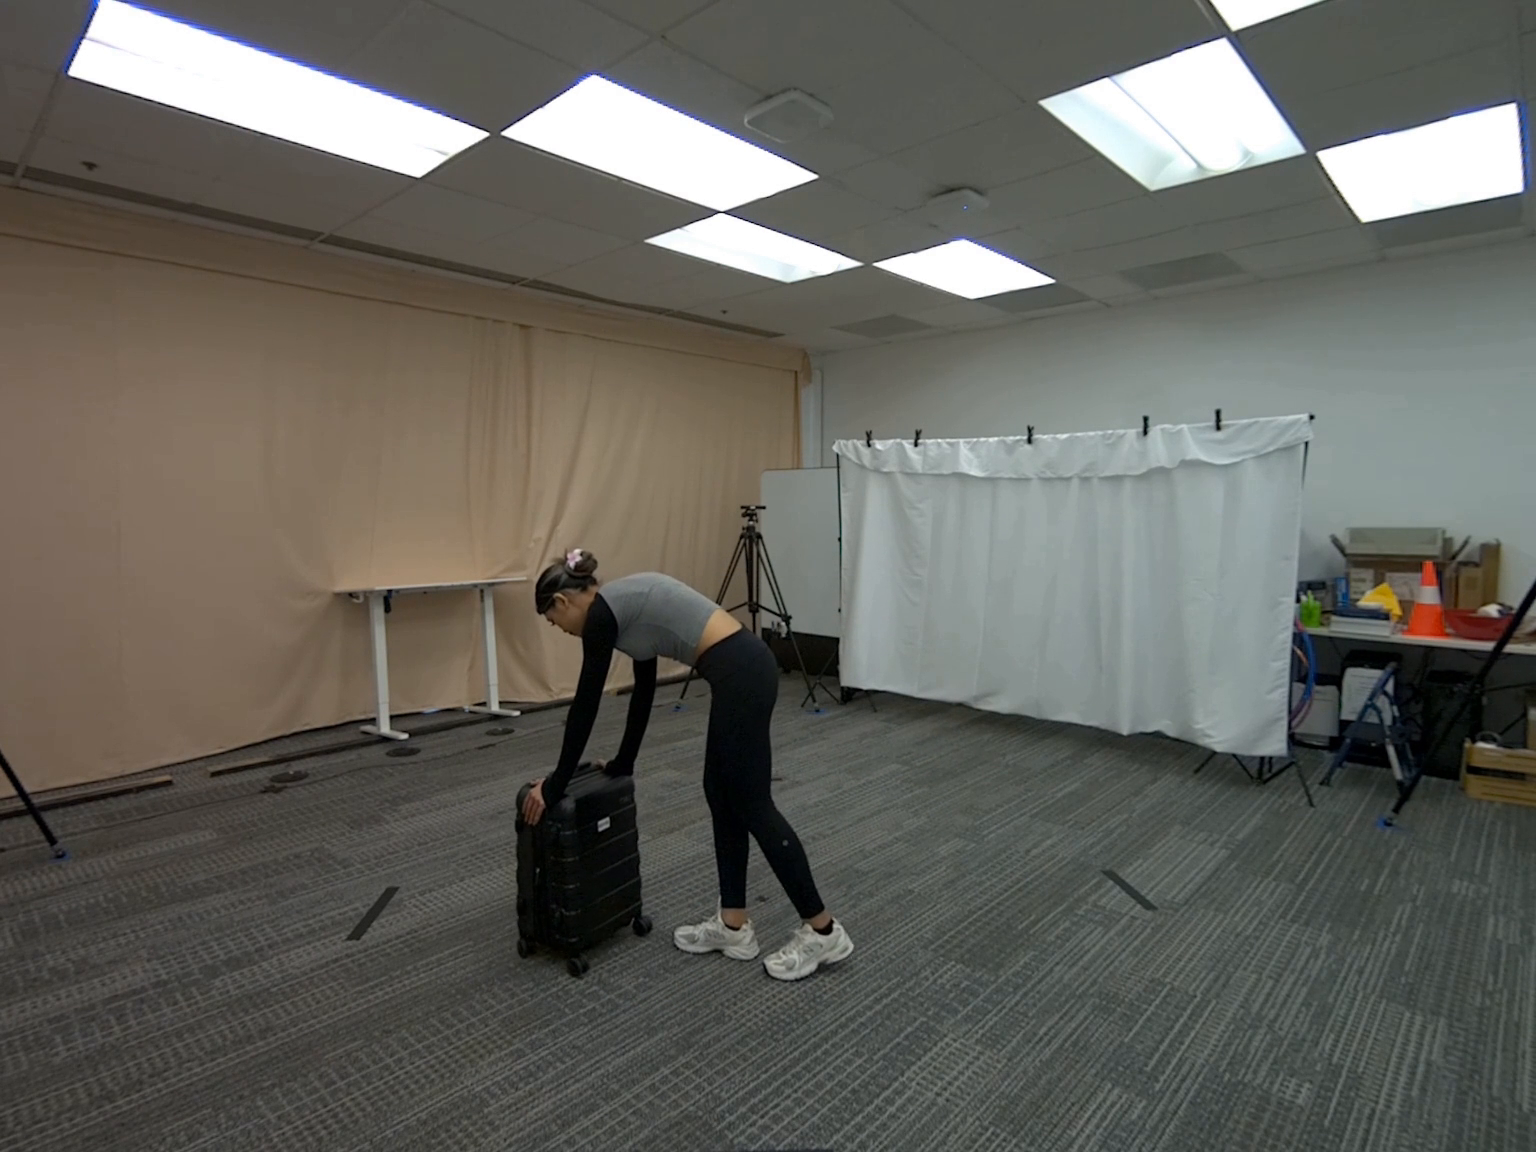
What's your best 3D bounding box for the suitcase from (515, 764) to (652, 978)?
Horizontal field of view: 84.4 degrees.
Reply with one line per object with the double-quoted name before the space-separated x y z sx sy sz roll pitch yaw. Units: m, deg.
"suitcase" -0.604 0.903 2.691 0.255 0.549 0.365 -1 1 31
